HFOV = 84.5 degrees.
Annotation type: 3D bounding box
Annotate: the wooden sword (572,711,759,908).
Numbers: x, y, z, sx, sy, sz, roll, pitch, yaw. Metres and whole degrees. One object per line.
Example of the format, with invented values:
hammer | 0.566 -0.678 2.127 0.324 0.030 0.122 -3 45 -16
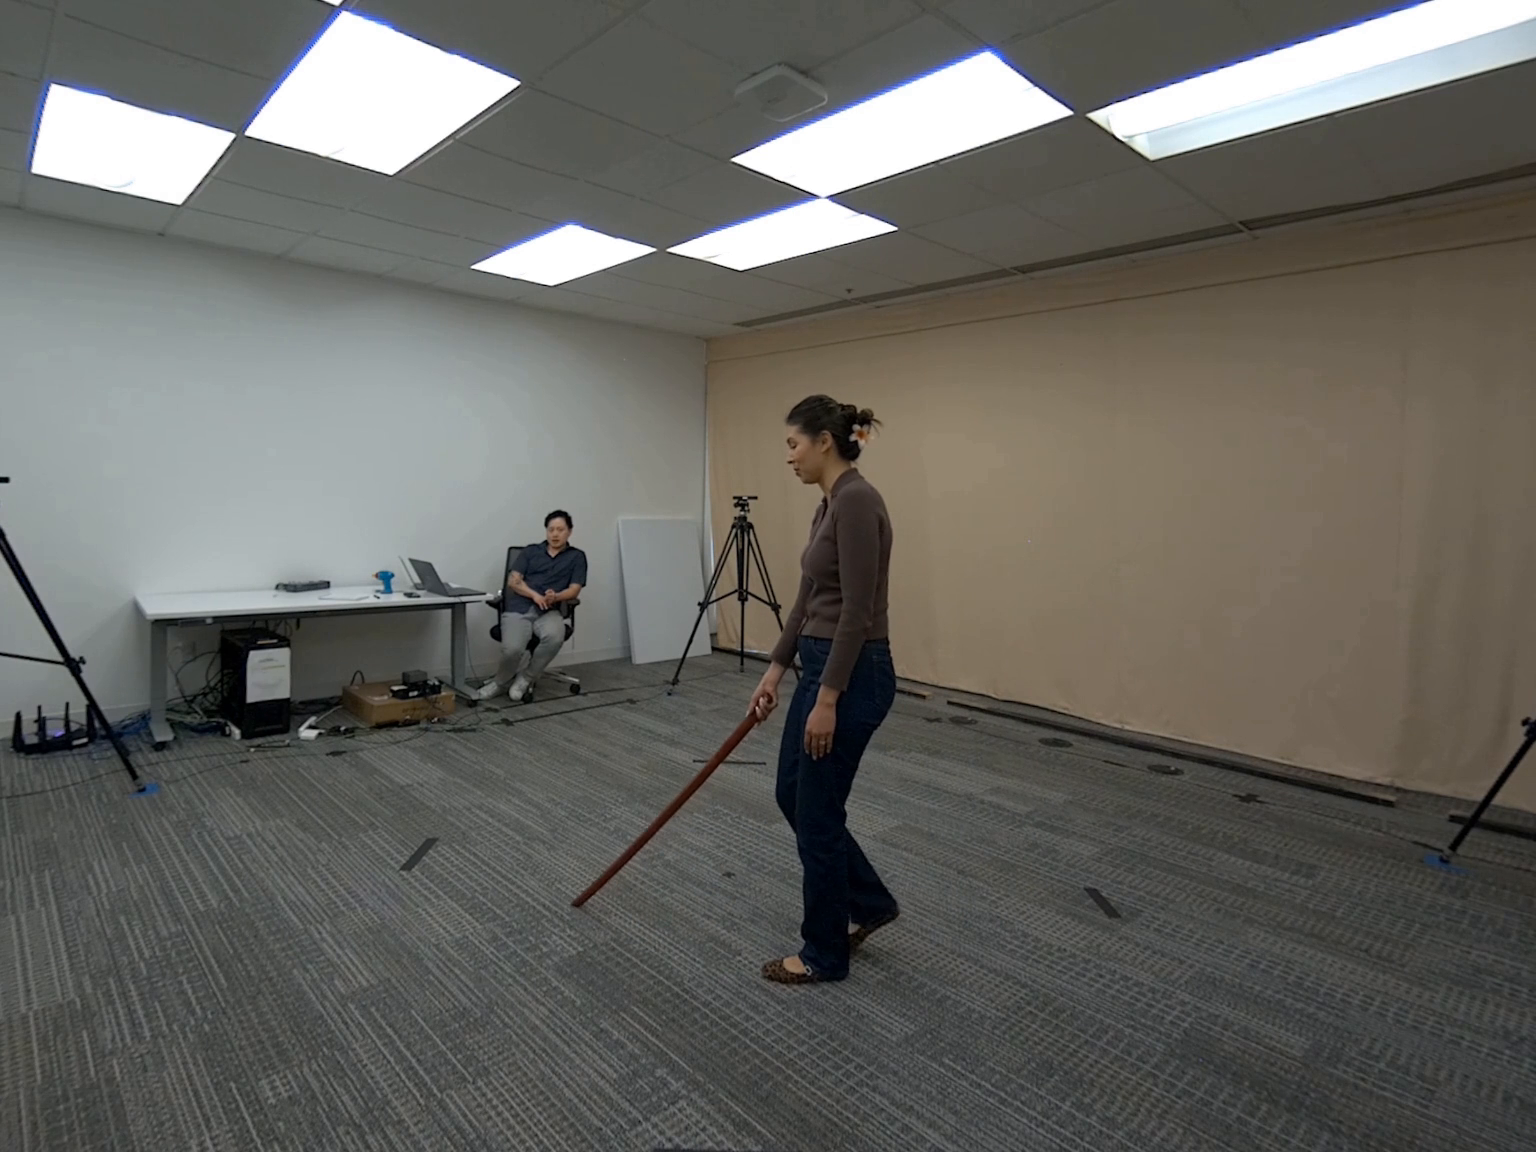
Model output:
wooden sword | -0.325 0.756 2.706 0.025 1.024 0.050 50 16 30
